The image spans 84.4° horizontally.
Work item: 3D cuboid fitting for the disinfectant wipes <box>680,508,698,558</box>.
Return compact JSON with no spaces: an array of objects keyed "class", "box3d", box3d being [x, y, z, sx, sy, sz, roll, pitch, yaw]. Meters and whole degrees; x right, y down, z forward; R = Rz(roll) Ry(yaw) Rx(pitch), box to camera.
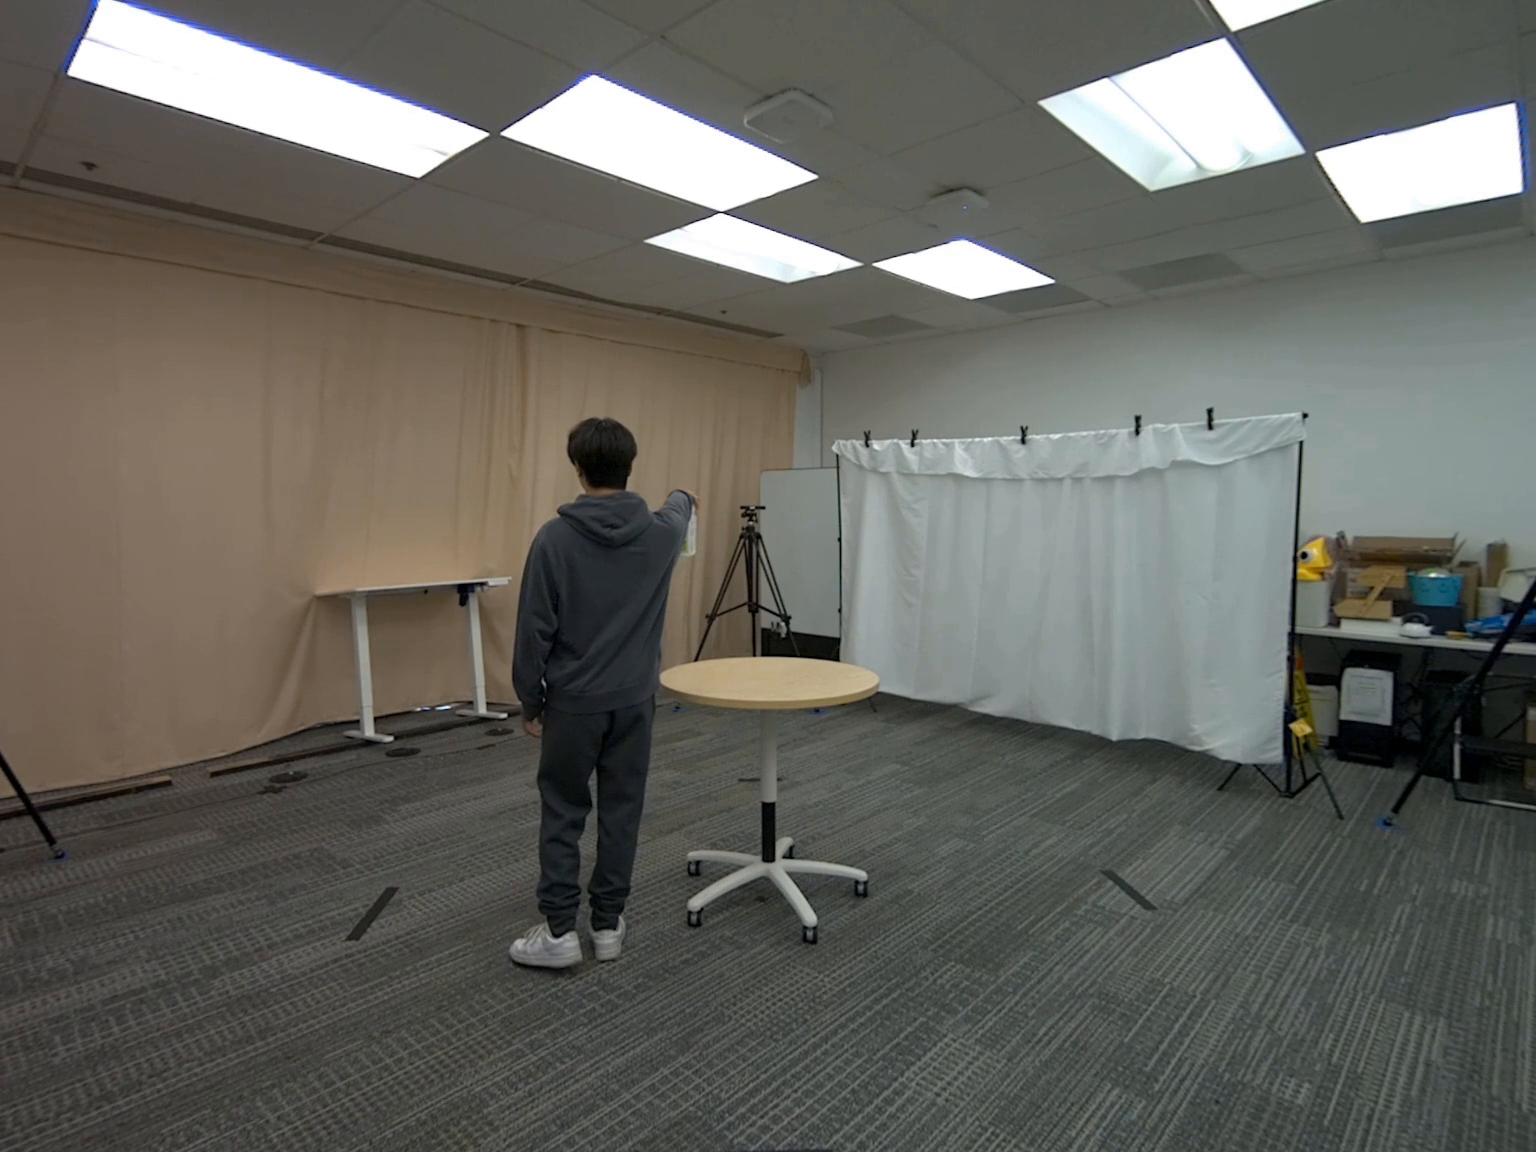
[{"class":"disinfectant wipes","box3d":[-0.332,-0.188,3.276,0.117,0.215,0.119,3,19,-3]}]
